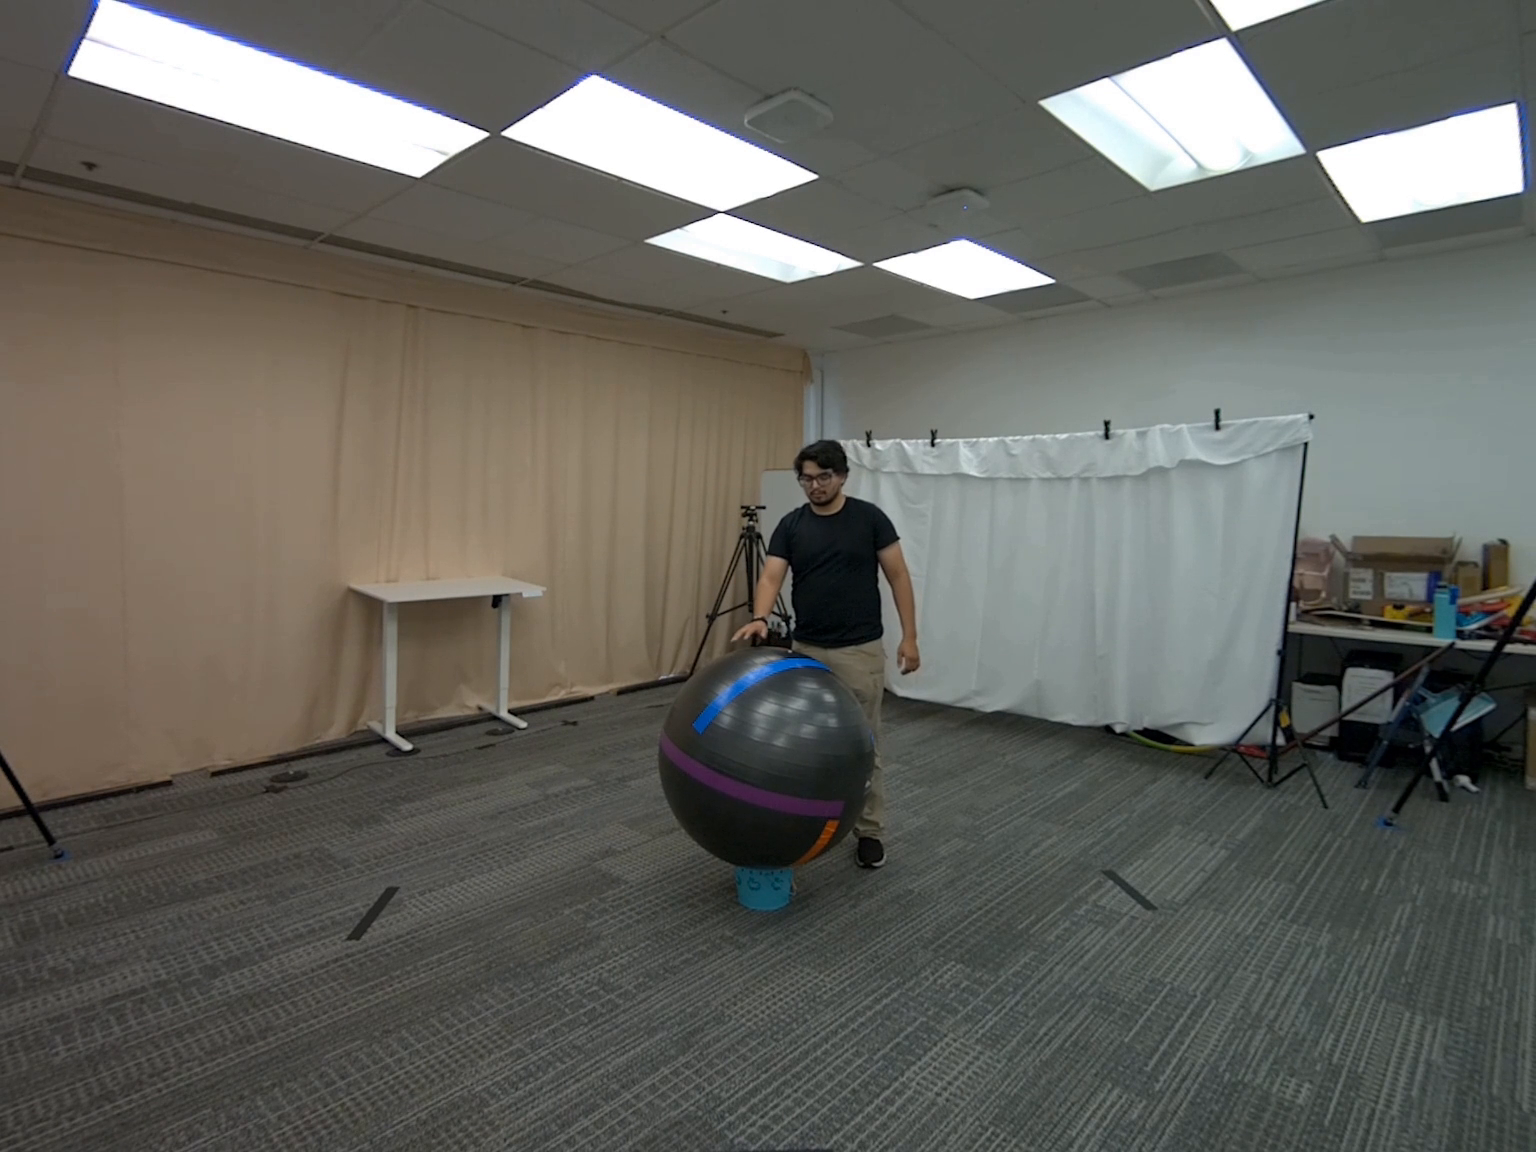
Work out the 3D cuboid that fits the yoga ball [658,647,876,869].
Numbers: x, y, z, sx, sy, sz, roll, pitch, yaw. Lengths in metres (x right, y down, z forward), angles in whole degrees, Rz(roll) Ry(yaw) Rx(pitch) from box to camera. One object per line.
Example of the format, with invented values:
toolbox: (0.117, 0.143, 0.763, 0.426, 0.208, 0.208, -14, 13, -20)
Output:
yoga ball: (0.004, 0.636, 2.964, 0.757, 0.756, 0.760, 0, 4, -2)
